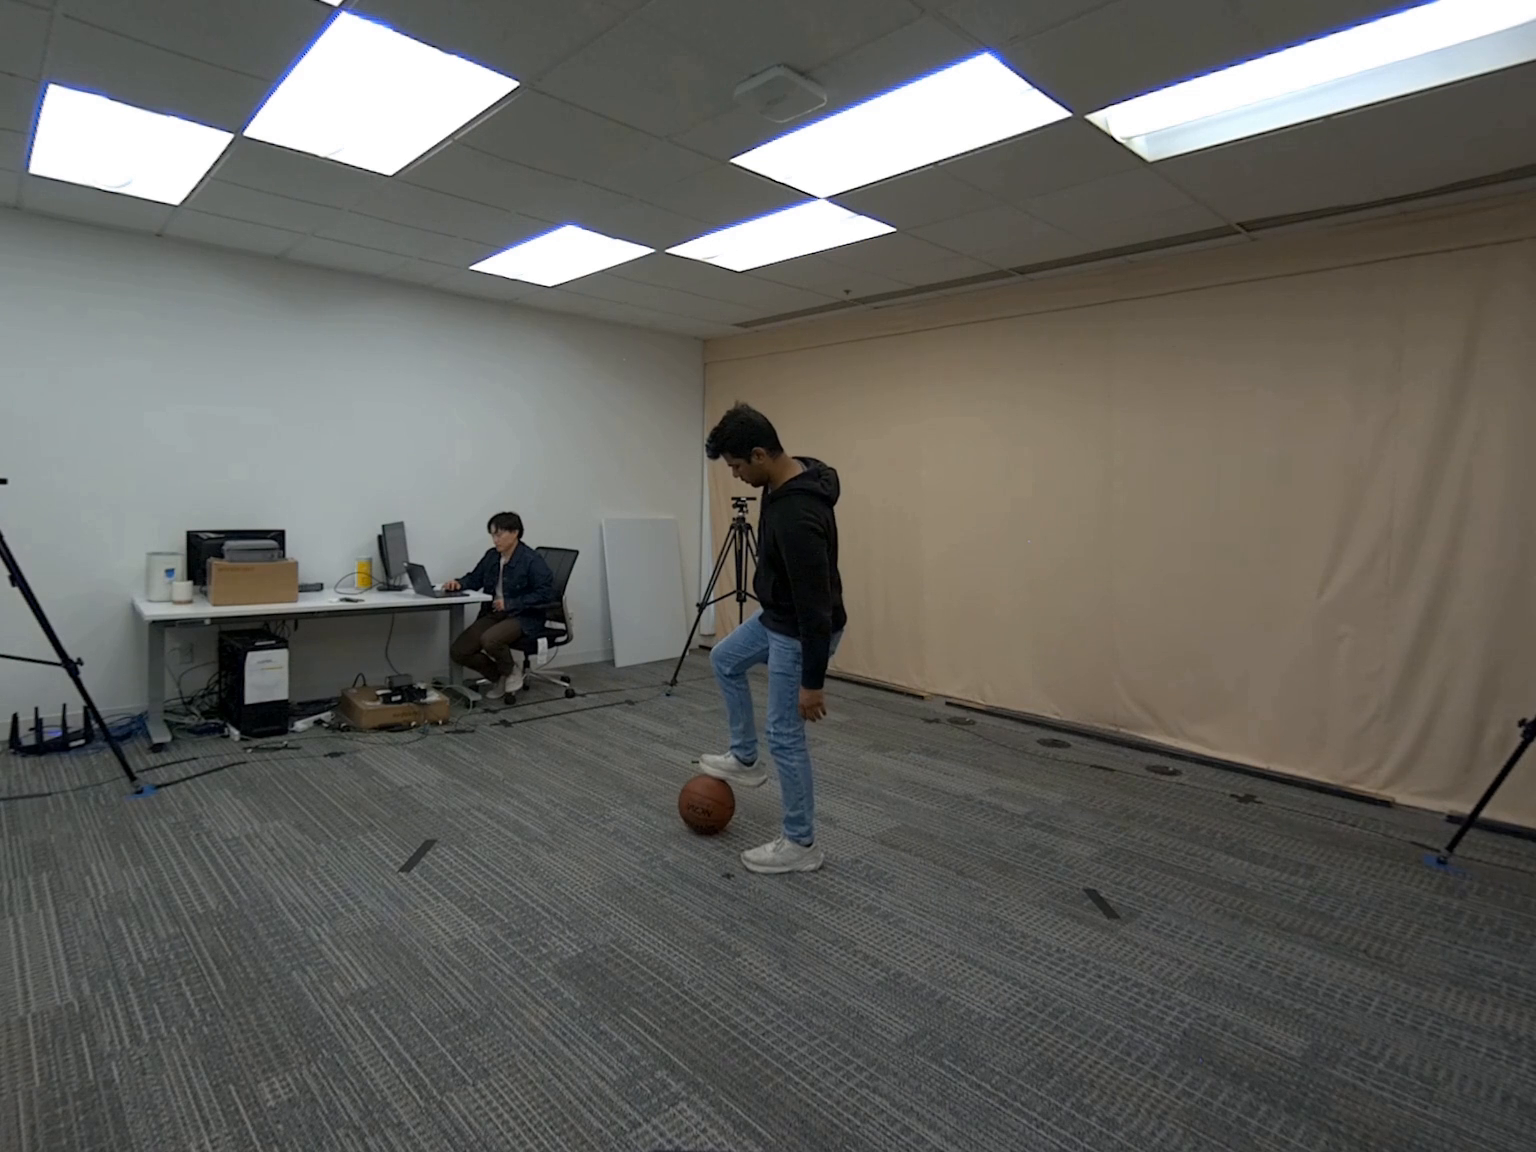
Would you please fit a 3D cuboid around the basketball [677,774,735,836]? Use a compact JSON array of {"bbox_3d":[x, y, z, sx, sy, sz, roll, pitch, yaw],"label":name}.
[{"bbox_3d":[-0.258,0.948,3.515,0.236,0.235,0.237,1,4,-1],"label":"basketball"}]
